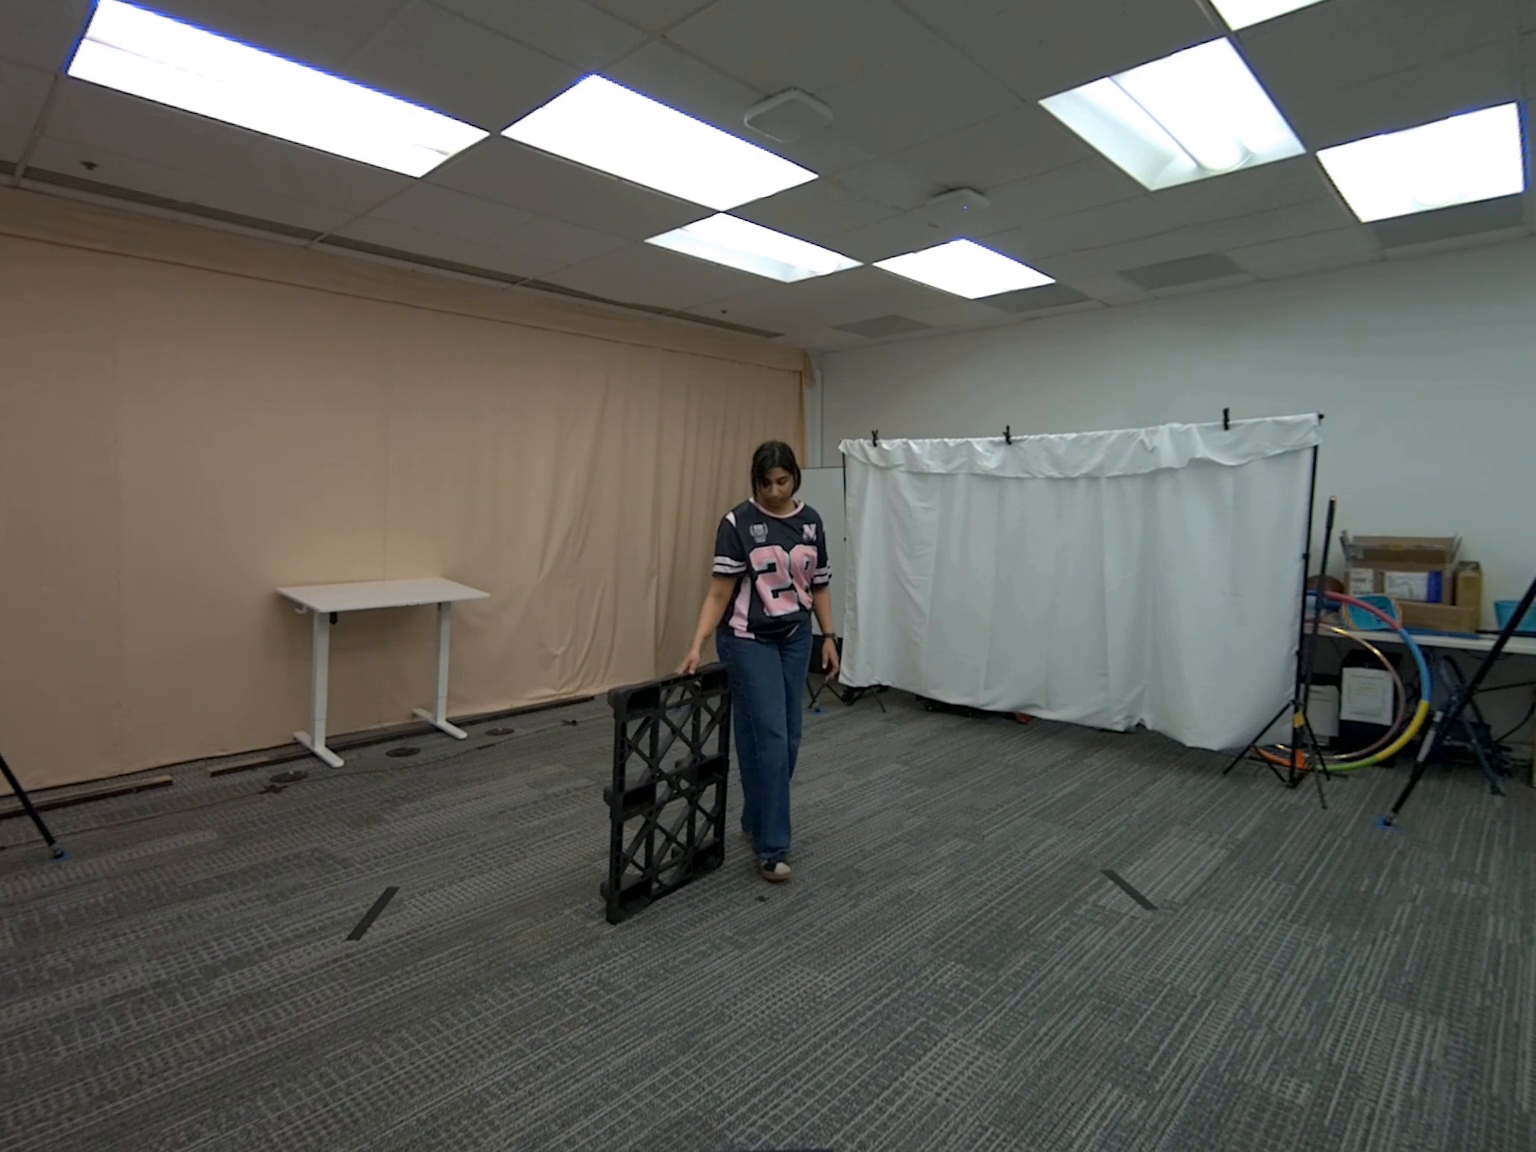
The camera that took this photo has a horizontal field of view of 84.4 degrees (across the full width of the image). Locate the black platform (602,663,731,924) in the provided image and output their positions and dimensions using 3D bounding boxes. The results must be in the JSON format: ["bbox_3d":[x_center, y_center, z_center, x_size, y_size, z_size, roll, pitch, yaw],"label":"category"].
[{"bbox_3d":[-0.375,0.747,3.019,0.148,0.803,0.587,7,7,37],"label":"black platform"}]
